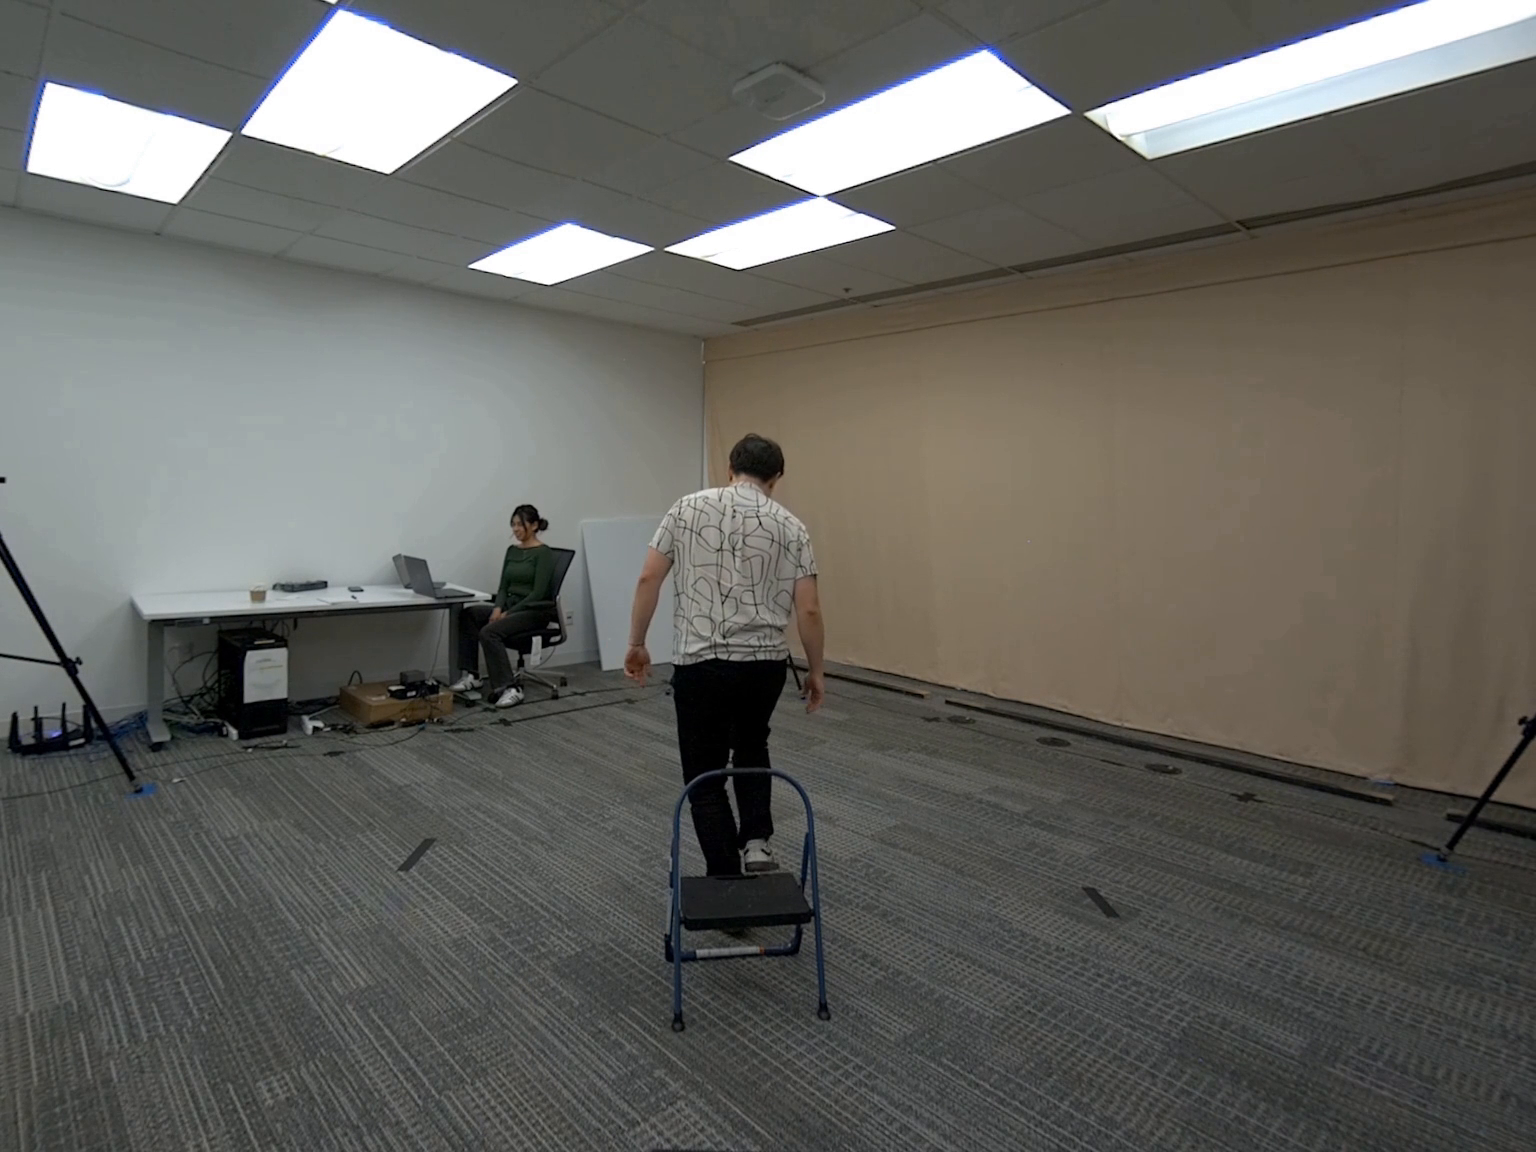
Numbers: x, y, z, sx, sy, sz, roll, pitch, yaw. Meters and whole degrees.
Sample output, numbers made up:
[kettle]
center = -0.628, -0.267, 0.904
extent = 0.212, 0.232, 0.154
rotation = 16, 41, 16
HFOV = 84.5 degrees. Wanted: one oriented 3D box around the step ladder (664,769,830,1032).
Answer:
[step ladder]
center = -0.068, 0.871, 2.375
extent = 0.427, 0.604, 0.353
rotation = 1, 3, -11
